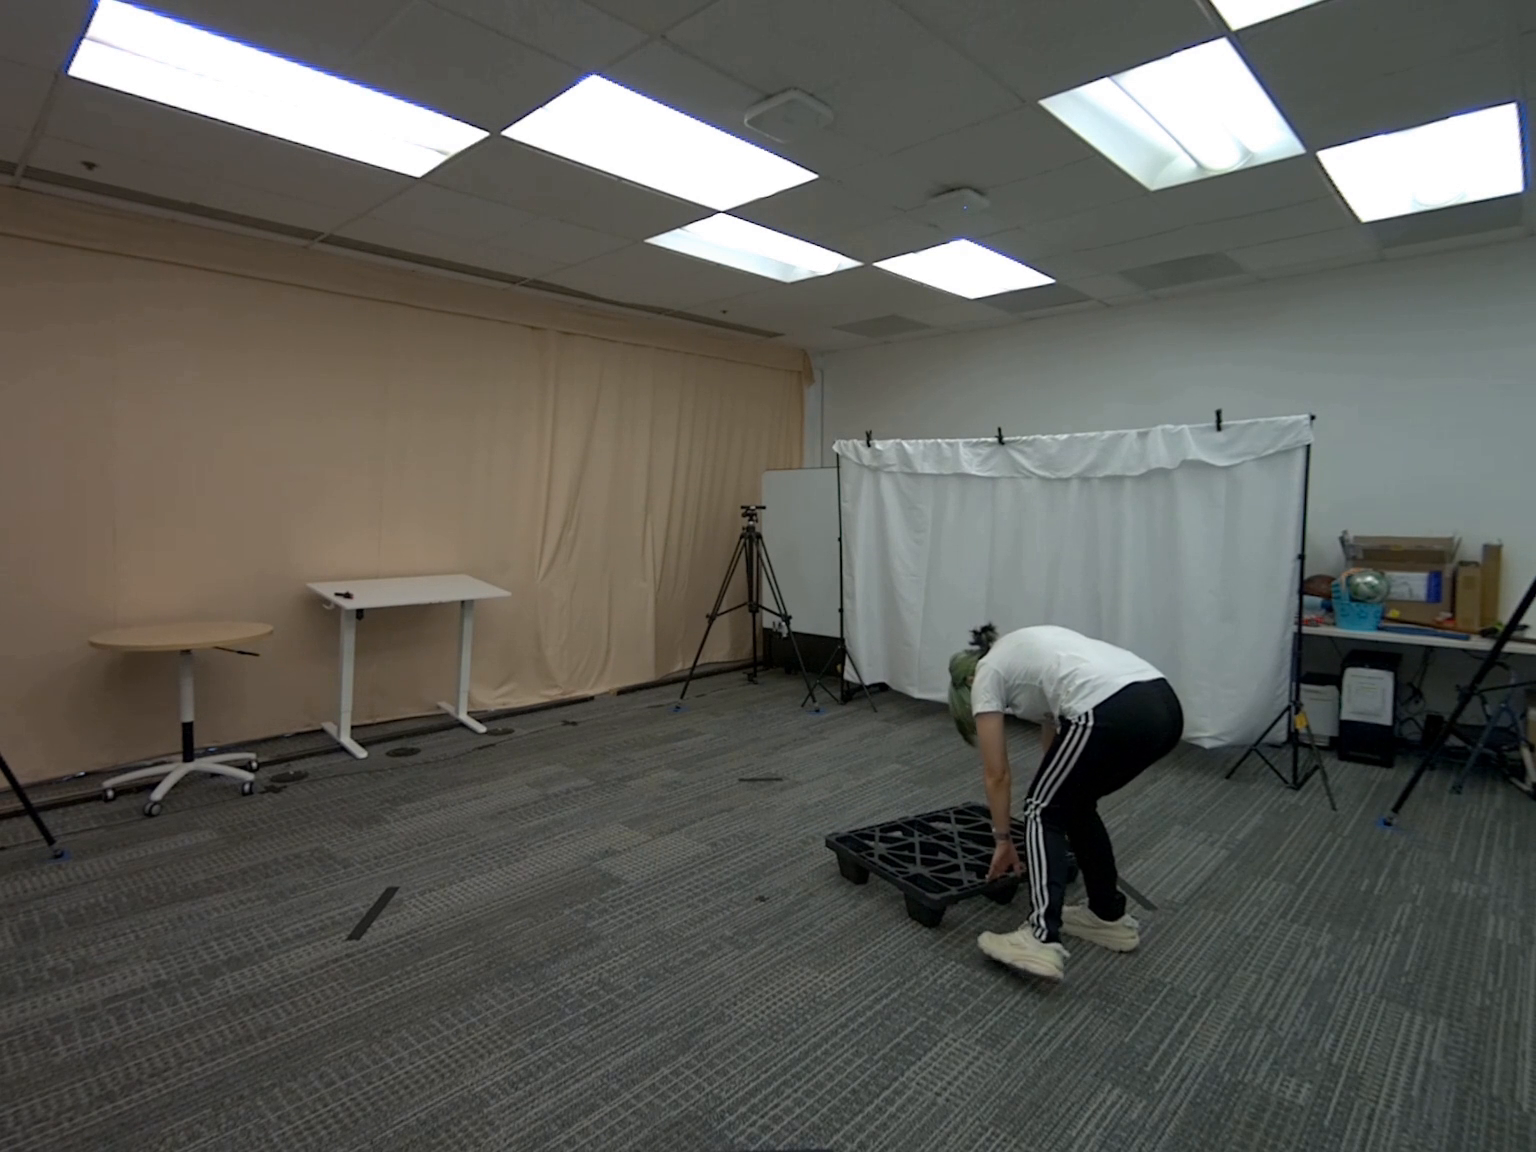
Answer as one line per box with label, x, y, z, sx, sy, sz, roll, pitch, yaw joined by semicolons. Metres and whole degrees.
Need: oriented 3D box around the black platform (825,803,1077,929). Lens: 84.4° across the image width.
black platform;0.714;1.061;3.141;0.784;0.143;0.623;-3;6;-31
